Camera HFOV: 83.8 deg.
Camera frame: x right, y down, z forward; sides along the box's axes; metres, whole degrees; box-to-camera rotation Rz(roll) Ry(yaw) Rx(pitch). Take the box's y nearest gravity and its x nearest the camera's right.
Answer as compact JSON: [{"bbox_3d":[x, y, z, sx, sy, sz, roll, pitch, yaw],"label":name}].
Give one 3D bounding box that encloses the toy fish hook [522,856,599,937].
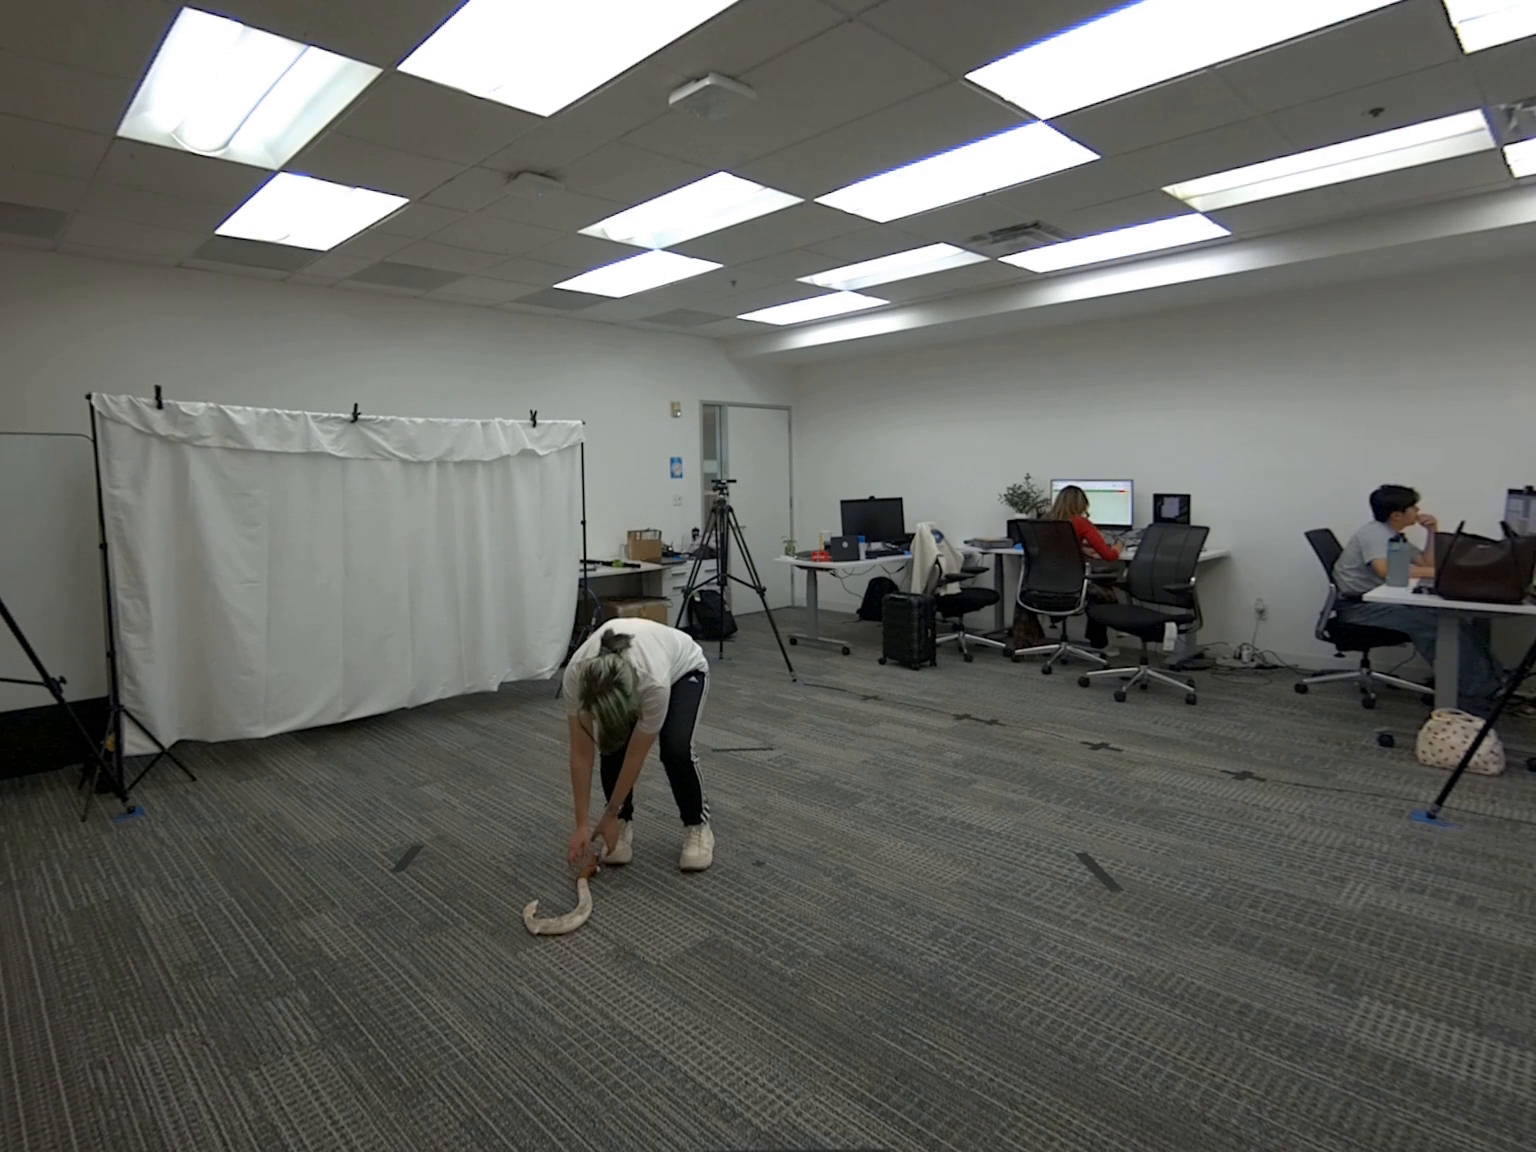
[{"bbox_3d":[-0.687,1.068,2.885,0.225,0.048,0.509,0,6,-1],"label":"toy fish hook"}]
